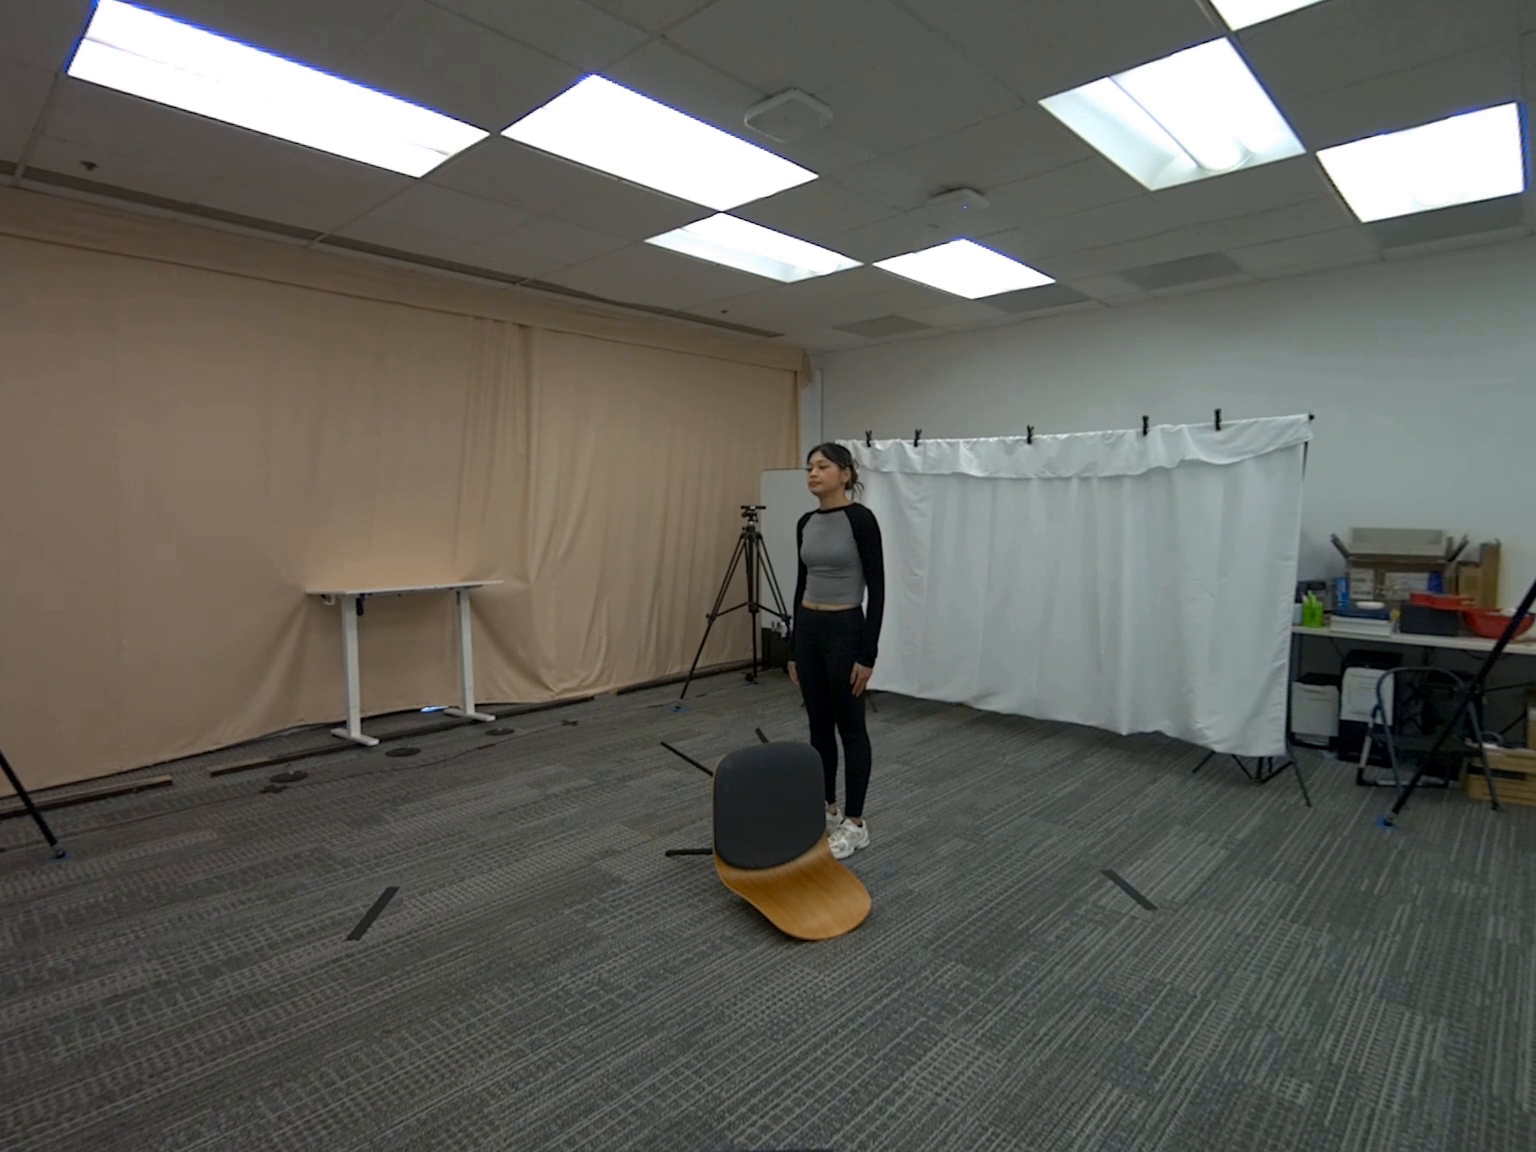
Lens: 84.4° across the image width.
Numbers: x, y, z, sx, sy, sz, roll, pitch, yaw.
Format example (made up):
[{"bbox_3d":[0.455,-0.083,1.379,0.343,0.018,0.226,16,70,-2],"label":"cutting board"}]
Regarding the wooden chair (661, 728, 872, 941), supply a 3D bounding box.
[{"bbox_3d":[-0.006,0.873,3.086,0.466,0.521,0.903,-2,6,-29],"label":"wooden chair"}]
